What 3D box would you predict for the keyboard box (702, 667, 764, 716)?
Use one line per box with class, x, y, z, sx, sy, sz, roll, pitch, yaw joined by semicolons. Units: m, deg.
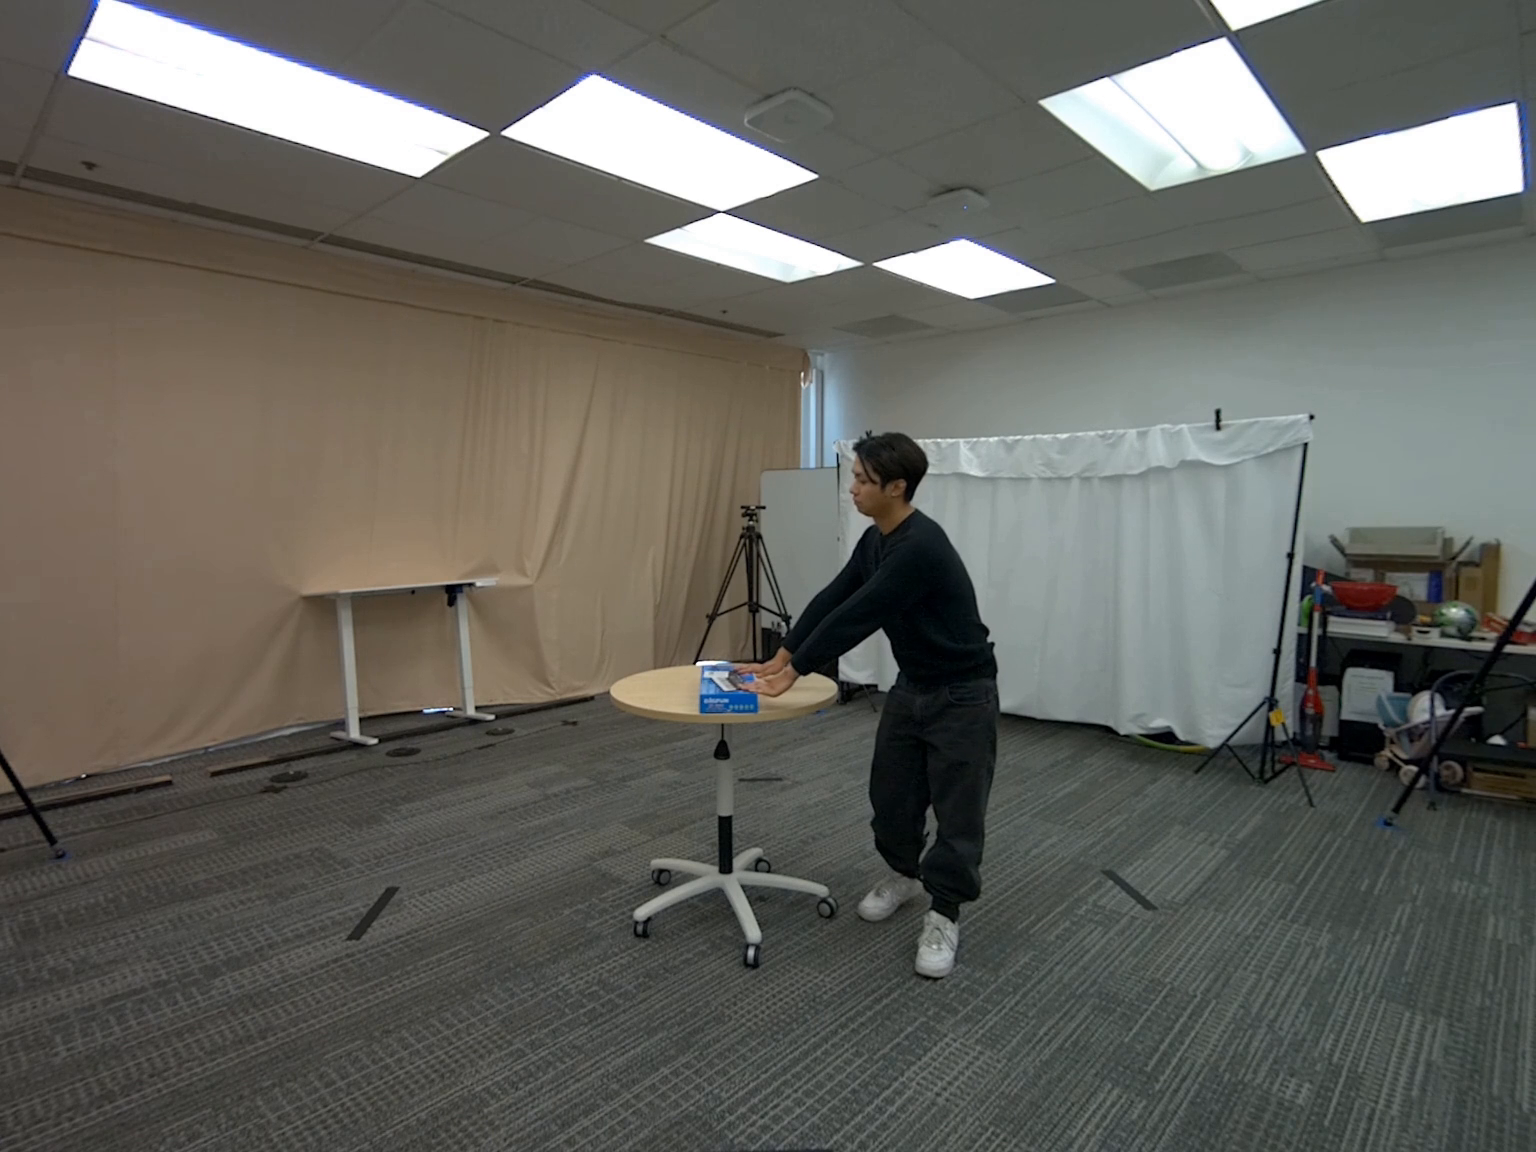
keyboard box;-0.122;0.359;2.691;0.175;0.059;0.439;0;4;-4
